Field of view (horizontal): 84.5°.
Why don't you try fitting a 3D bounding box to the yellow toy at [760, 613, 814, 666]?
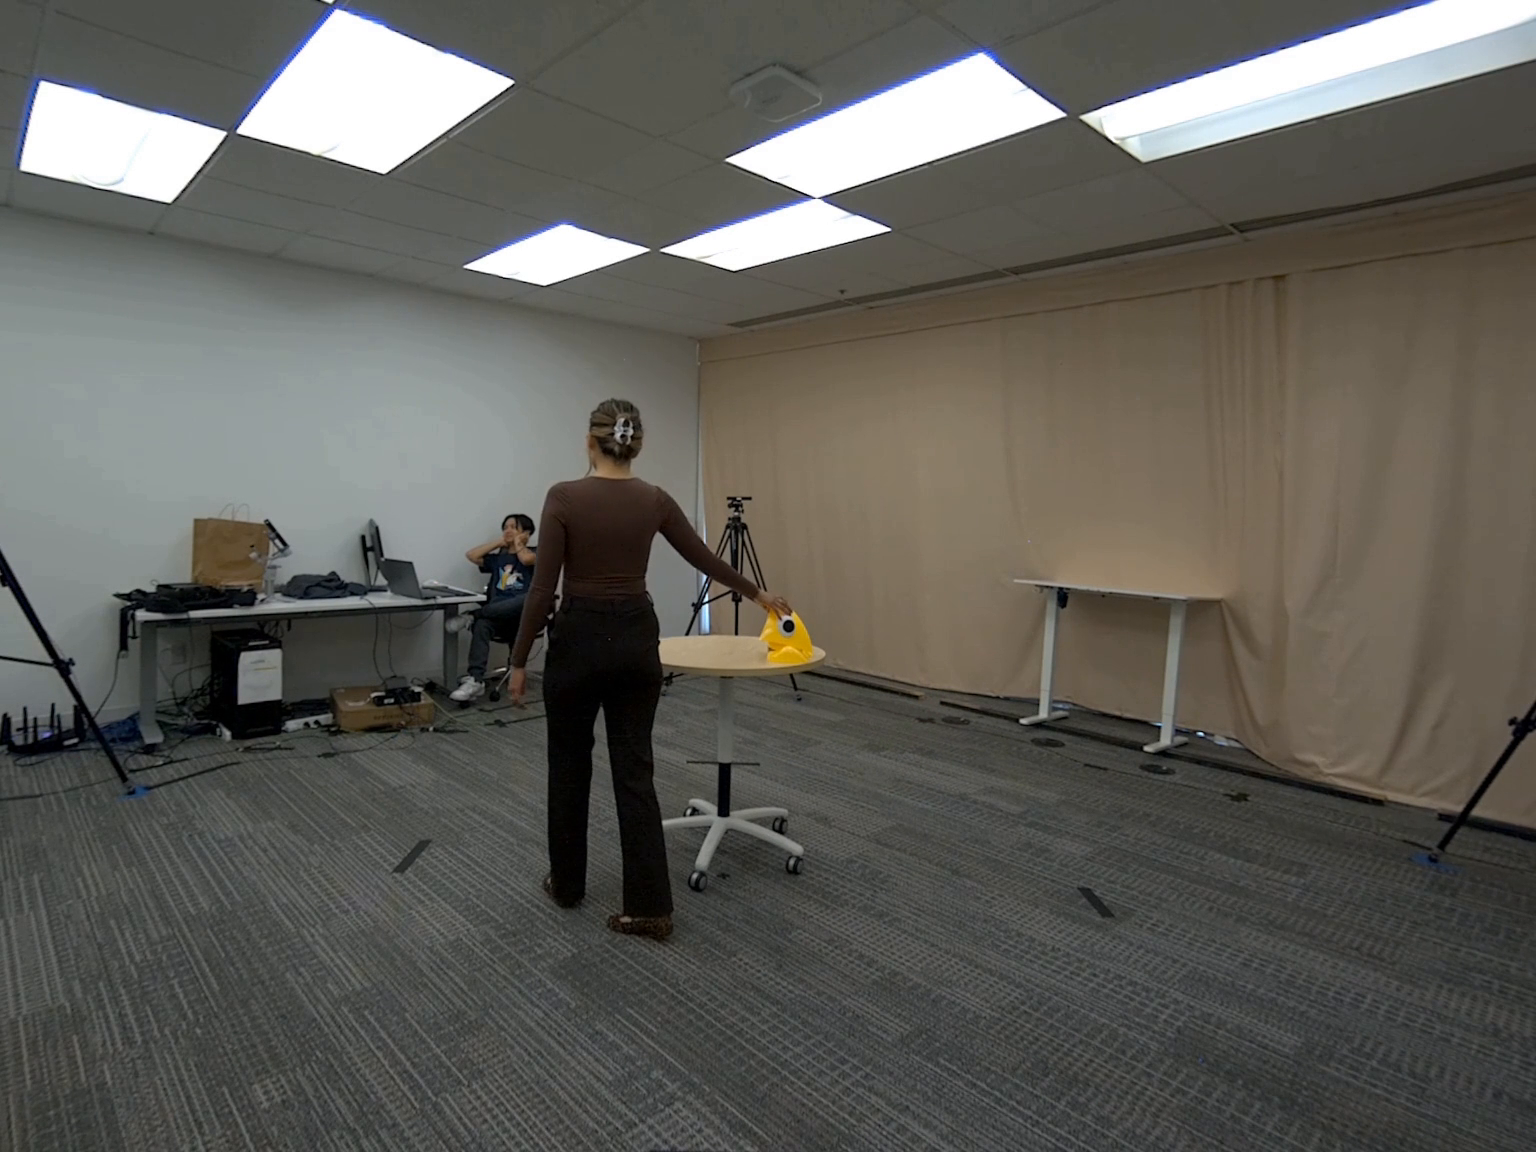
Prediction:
[{"bbox_3d":[0.070,0.193,3.139,0.195,0.230,0.203,2,4,11],"label":"yellow toy"}]
